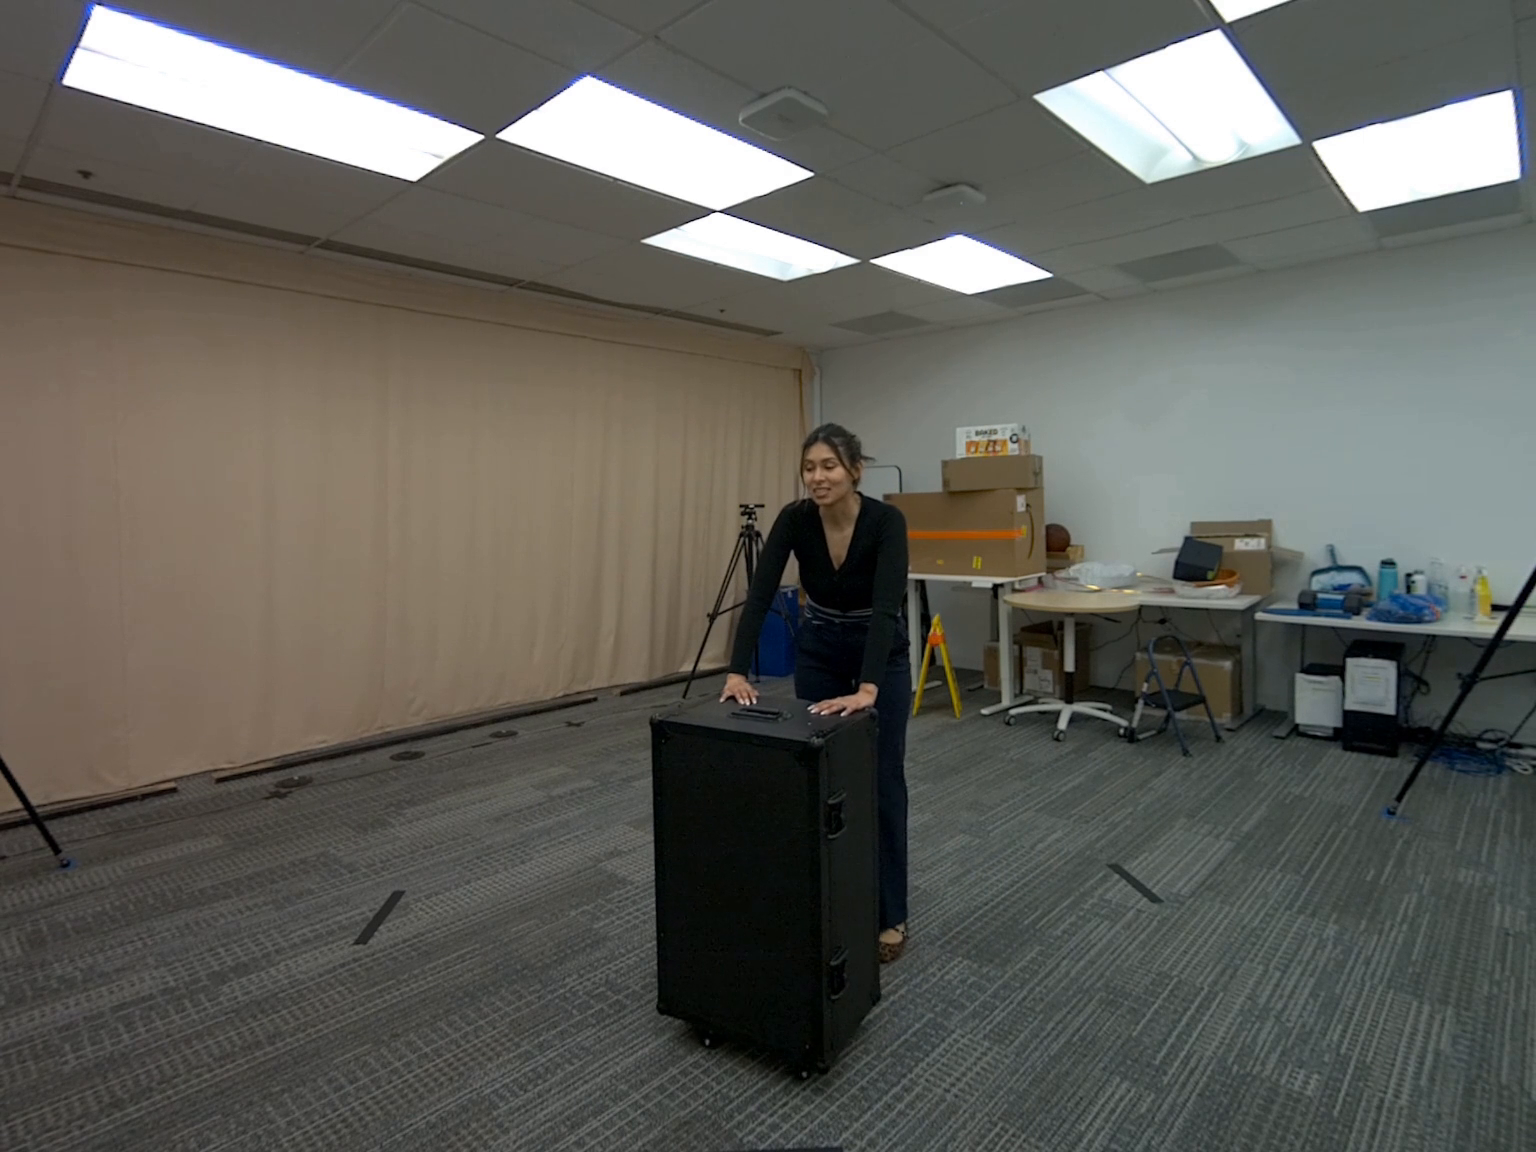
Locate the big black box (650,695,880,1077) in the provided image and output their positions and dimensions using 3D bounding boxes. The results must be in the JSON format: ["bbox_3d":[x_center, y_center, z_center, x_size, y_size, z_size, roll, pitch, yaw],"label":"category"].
[{"bbox_3d":[0.000,0.779,2.213,0.536,0.860,0.385,1,3,31],"label":"big black box"}]
